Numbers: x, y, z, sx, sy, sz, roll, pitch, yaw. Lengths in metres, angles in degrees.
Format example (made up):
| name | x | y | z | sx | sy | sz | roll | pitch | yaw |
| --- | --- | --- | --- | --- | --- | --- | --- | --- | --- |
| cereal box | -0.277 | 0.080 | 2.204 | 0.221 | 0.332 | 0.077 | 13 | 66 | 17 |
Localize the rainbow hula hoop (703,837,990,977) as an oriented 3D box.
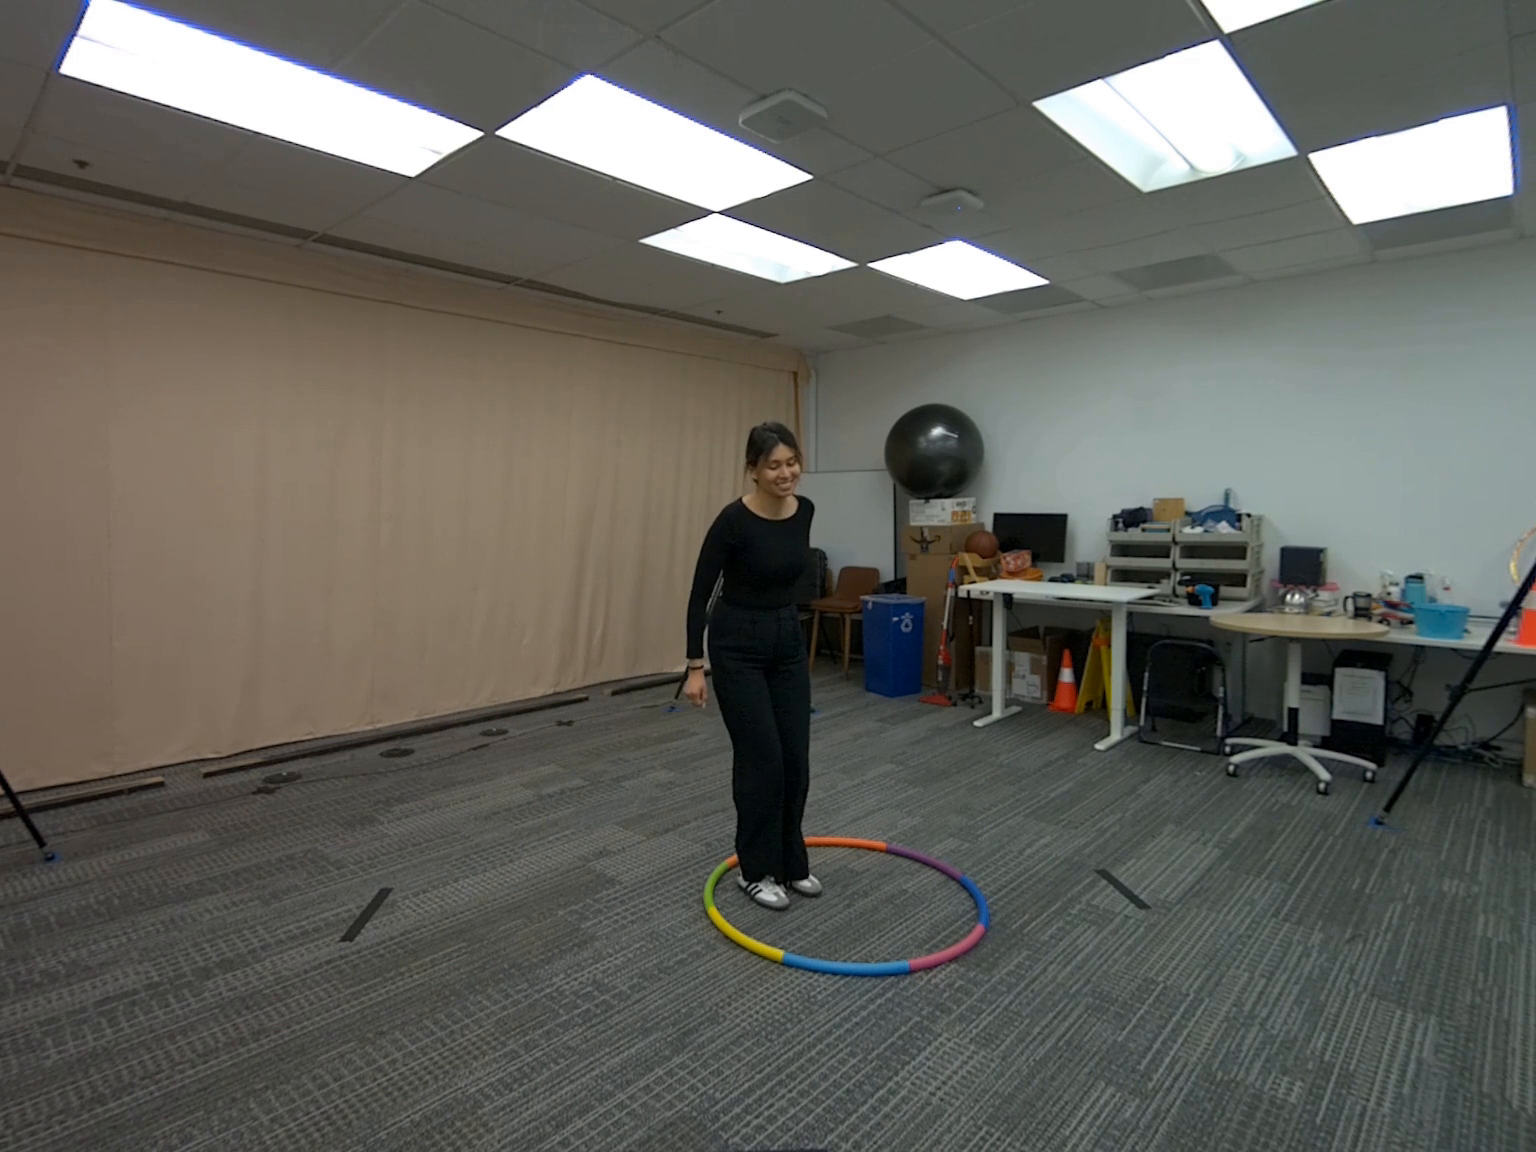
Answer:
| name | x | y | z | sx | sy | sz | roll | pitch | yaw |
| --- | --- | --- | --- | --- | --- | --- | --- | --- | --- |
| rainbow hula hoop | 0.264 | 1.115 | 2.972 | 0.978 | 0.035 | 0.982 | 0 | 5 | -2 |
